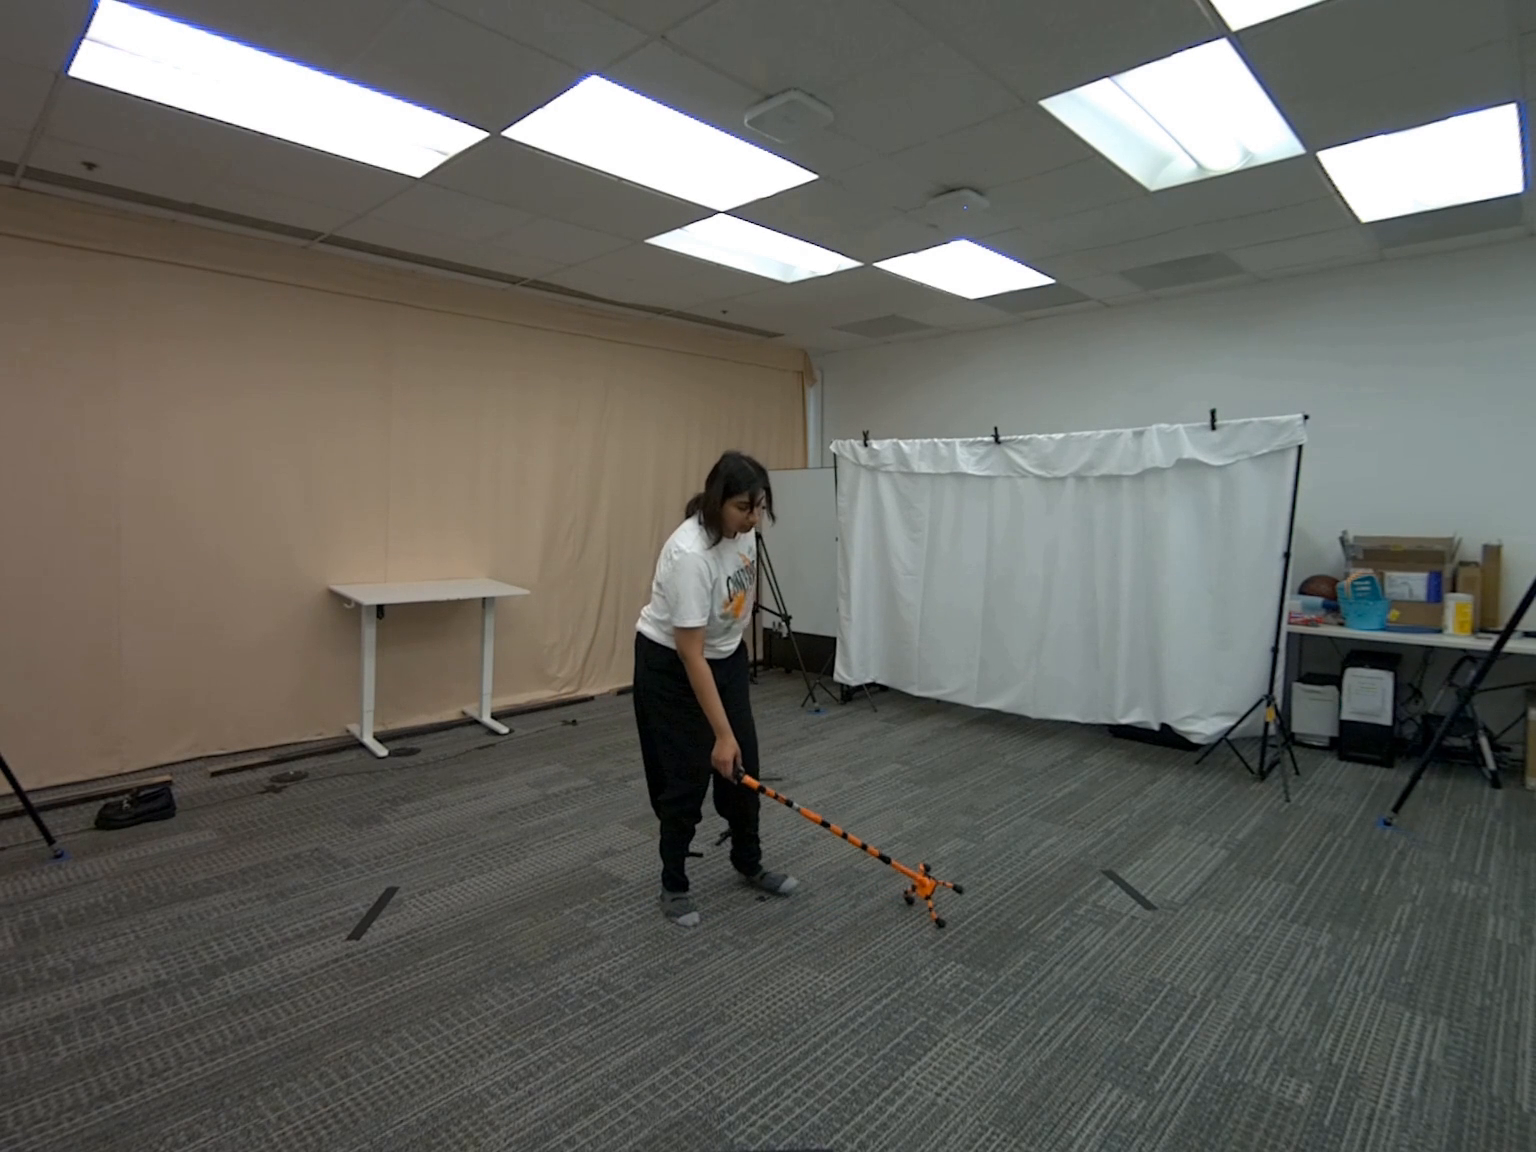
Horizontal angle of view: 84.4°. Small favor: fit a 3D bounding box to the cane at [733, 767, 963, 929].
[{"bbox_3d":[0.236,0.851,2.717,0.887,0.151,0.211,35,-9,-19],"label":"cane"}]
